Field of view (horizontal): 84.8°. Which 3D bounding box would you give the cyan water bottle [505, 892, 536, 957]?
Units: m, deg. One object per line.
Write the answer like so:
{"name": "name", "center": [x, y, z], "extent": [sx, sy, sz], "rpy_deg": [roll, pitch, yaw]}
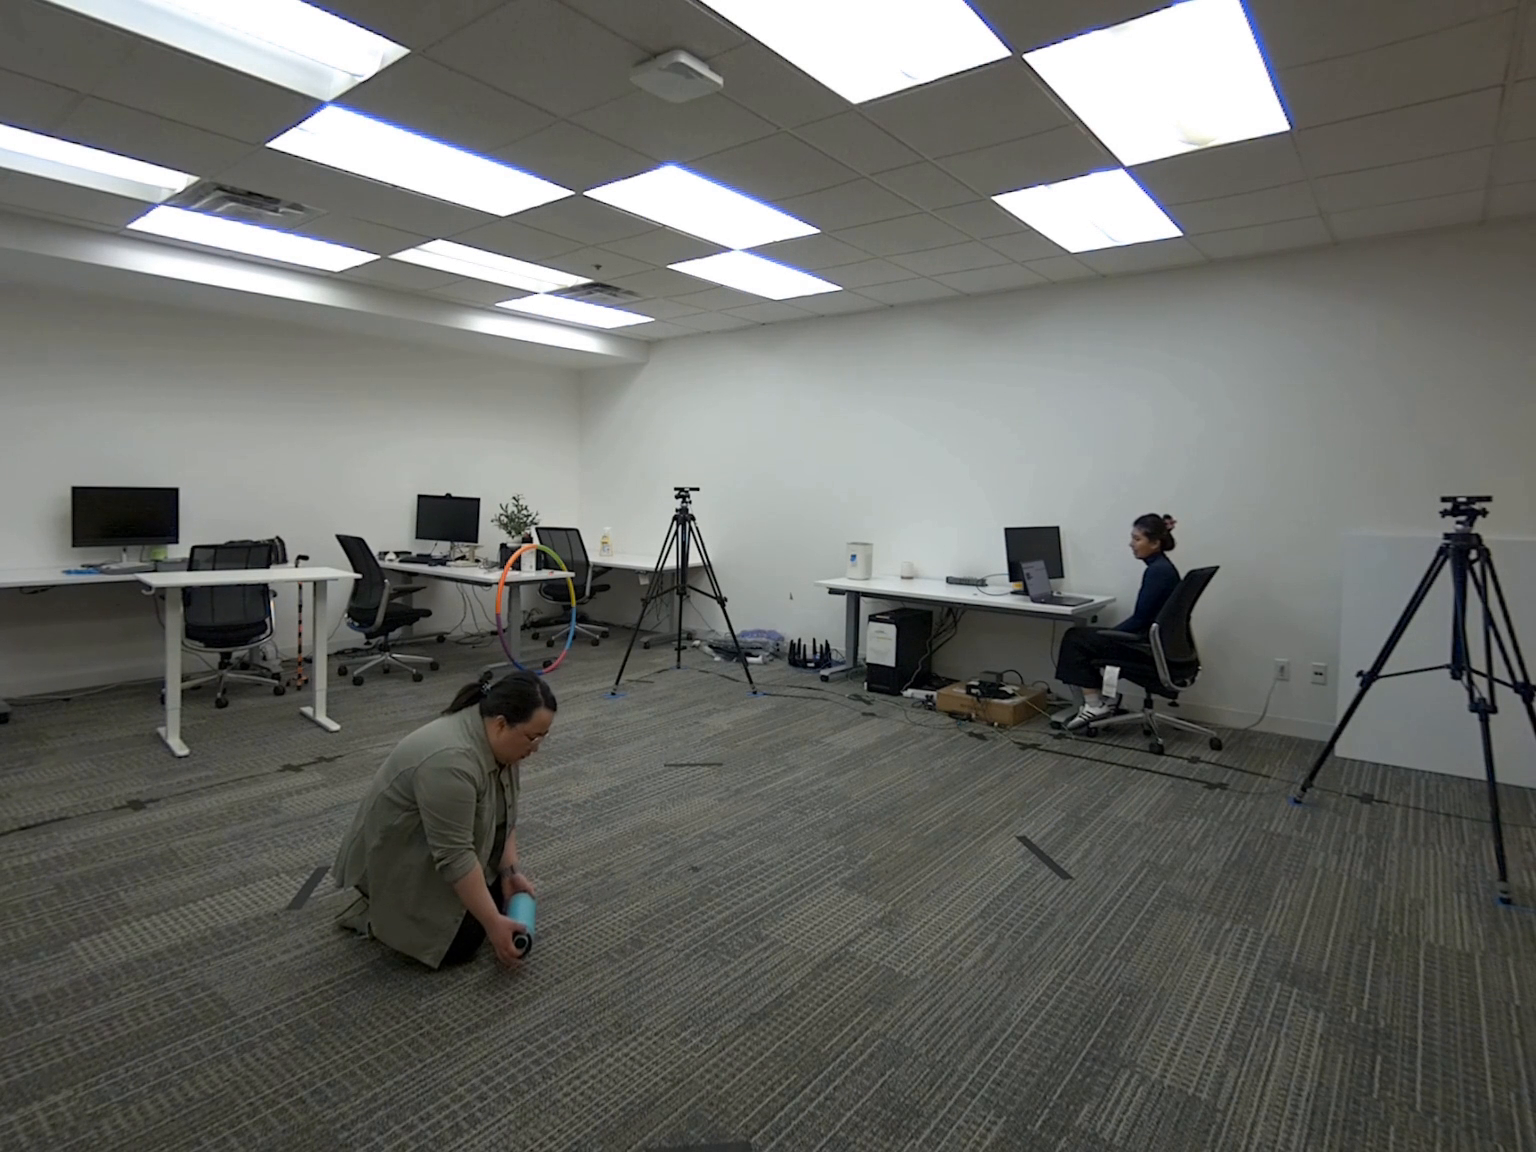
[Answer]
{"name": "cyan water bottle", "center": [-0.748, 1.042, 2.474], "extent": [0.091, 0.092, 0.287], "rpy_deg": [0, 2, -13]}
